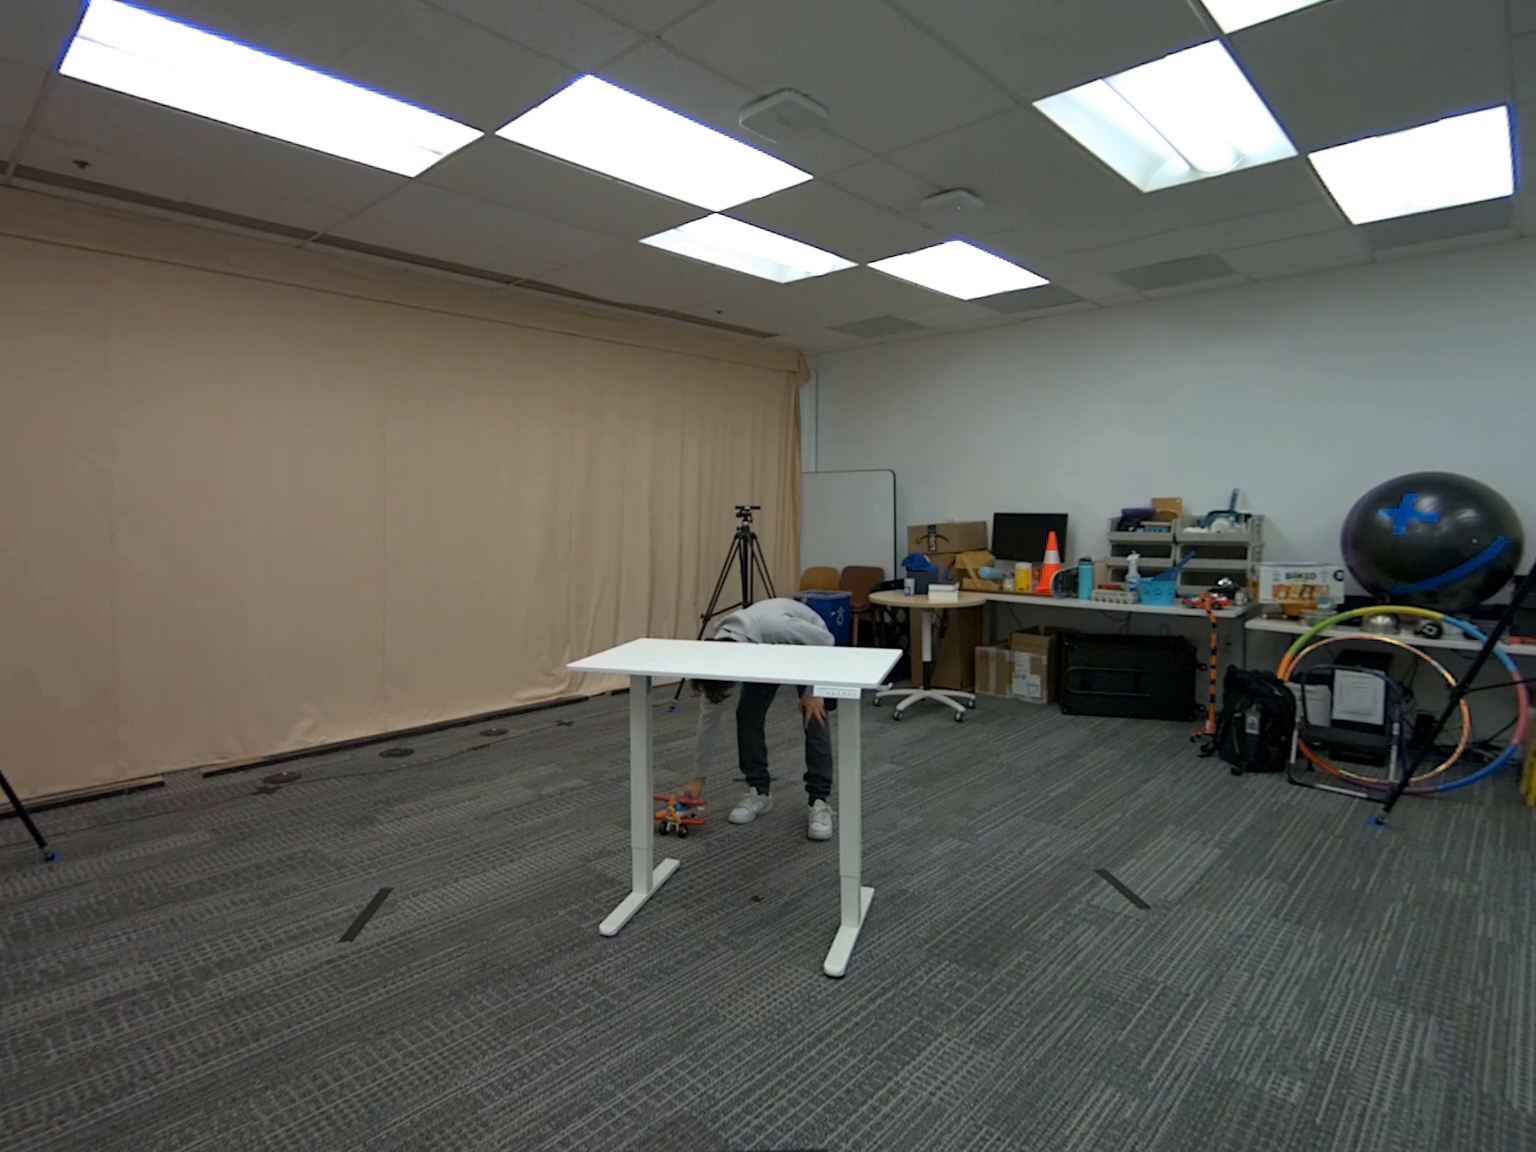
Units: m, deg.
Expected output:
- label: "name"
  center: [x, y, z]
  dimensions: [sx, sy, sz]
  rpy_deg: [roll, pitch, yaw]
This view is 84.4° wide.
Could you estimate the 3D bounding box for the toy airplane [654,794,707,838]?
- label: "toy airplane"
  center: [-0.389, 1.015, 3.632]
  dimensions: [0.250, 0.156, 0.261]
  rpy_deg: [0, 5, -5]
